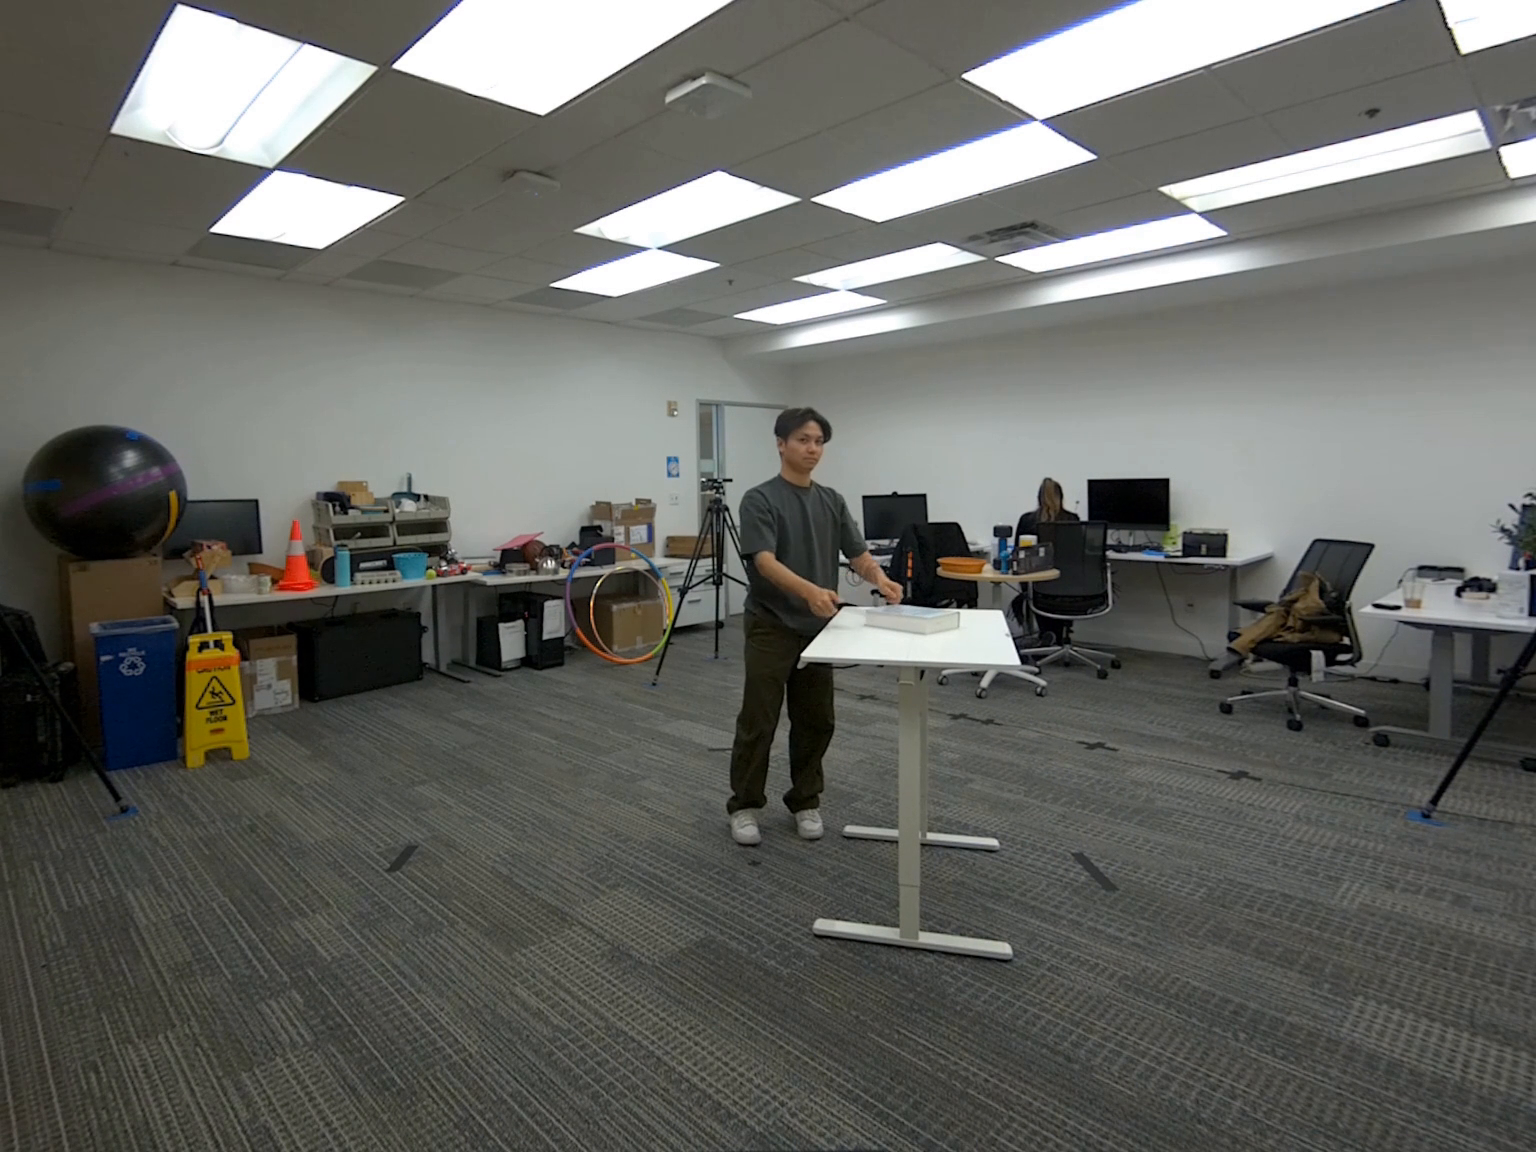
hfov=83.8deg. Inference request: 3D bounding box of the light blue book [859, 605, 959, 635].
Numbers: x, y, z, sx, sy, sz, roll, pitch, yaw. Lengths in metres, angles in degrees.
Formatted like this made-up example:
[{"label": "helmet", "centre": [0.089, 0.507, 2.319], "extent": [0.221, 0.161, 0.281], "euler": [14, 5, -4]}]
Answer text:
[{"label": "light blue book", "centre": [0.502, 0.149, 2.915], "extent": [0.186, 0.059, 0.269], "euler": [-5, 7, -41]}]
